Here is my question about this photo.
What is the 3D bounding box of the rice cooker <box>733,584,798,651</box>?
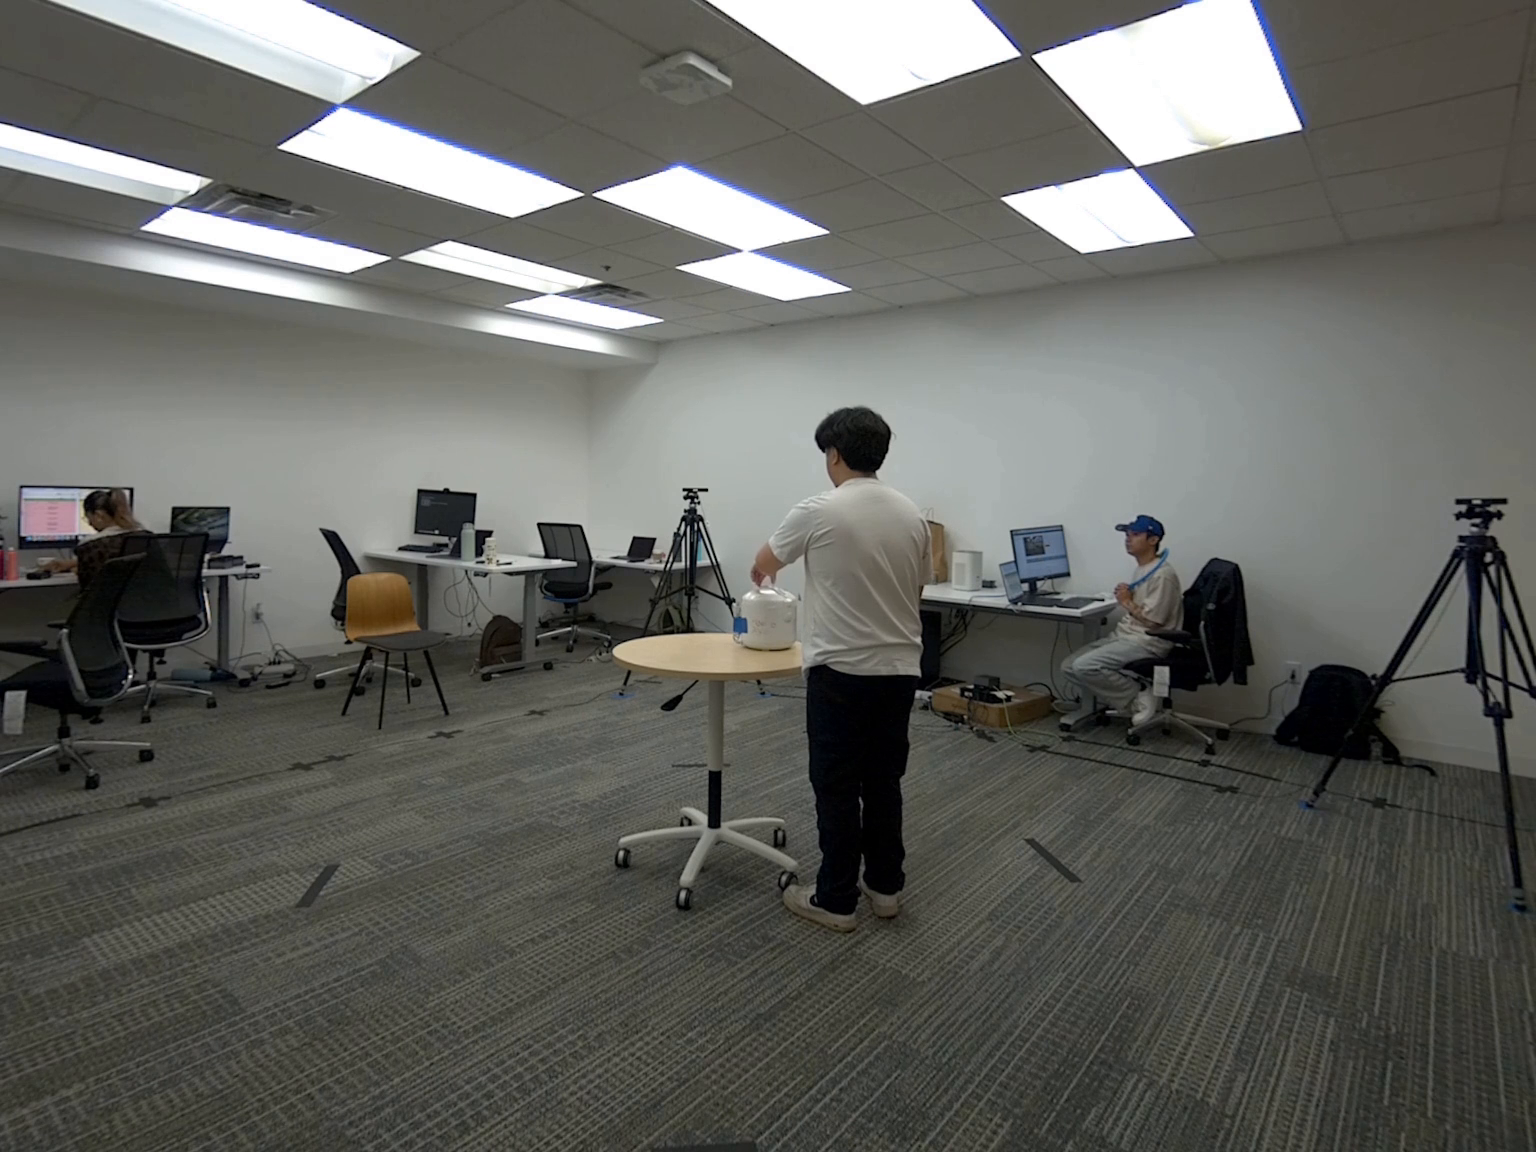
[{"bbox_3d":[-0.009,0.150,3.214,0.211,0.232,0.228,-4,6,-42],"label":"rice cooker"}]
